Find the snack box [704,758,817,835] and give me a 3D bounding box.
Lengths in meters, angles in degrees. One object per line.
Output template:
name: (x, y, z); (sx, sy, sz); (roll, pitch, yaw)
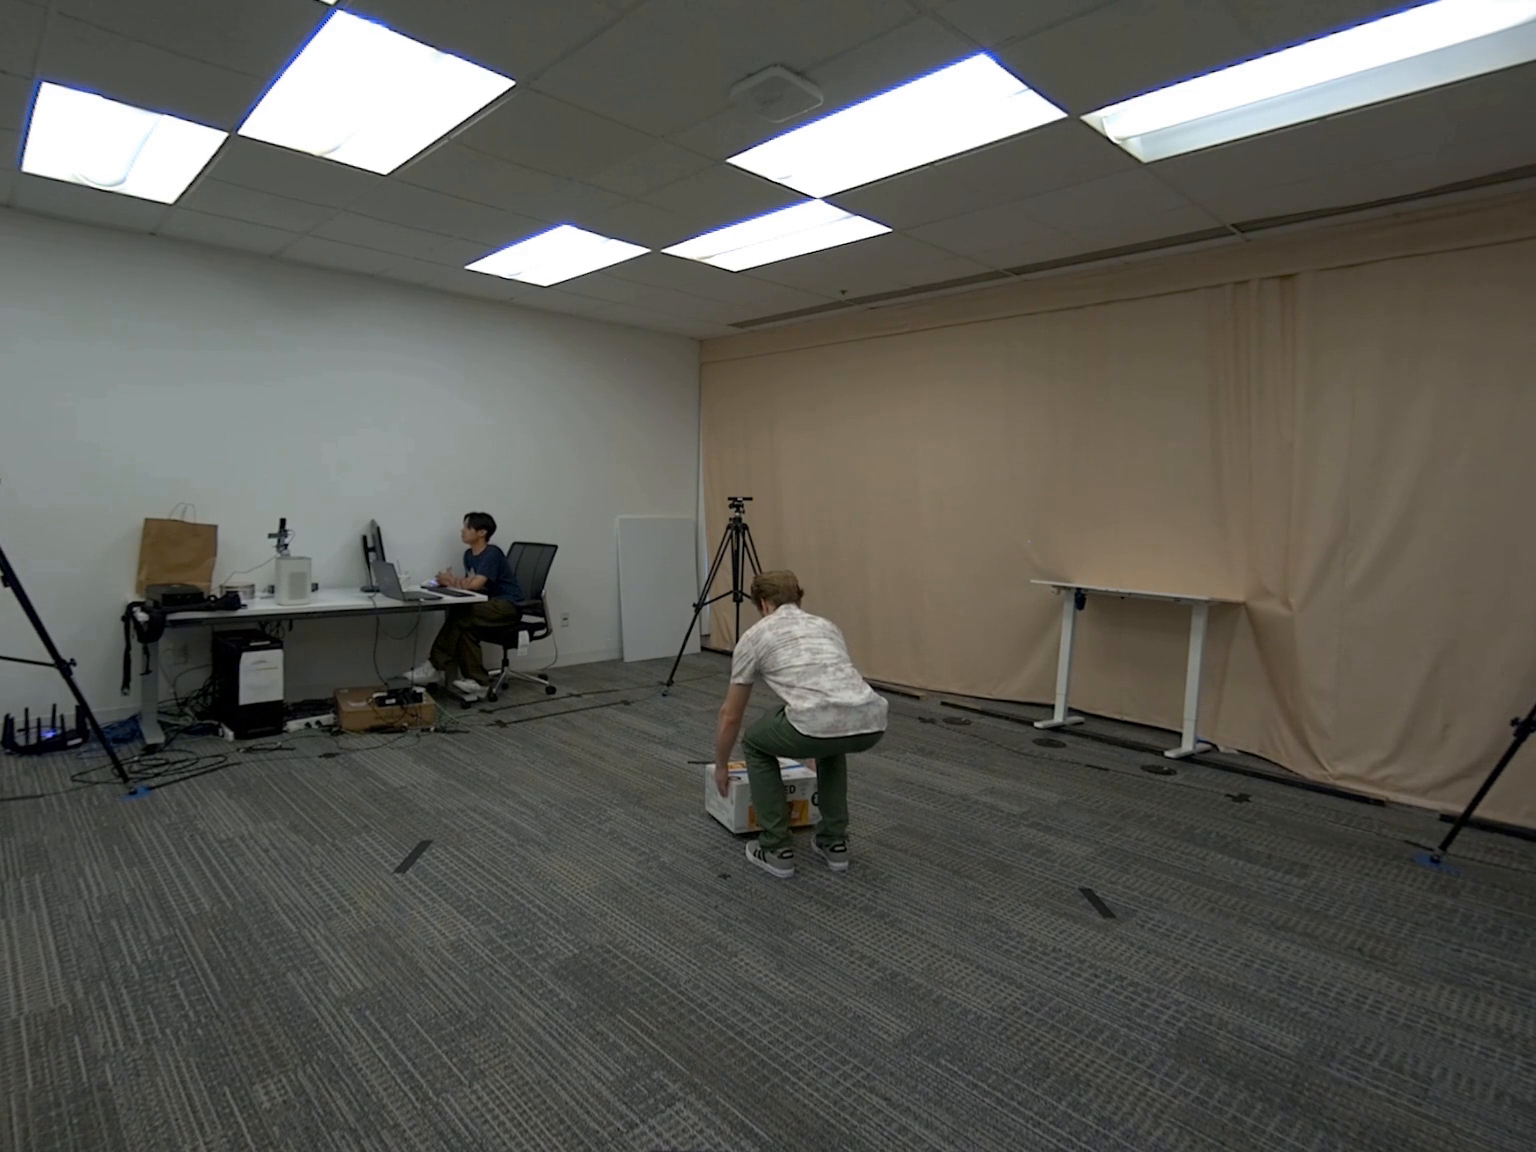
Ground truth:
snack box: (-0.035, 0.932, 3.643); (0.398, 0.206, 0.346); (1, 1, -24)
